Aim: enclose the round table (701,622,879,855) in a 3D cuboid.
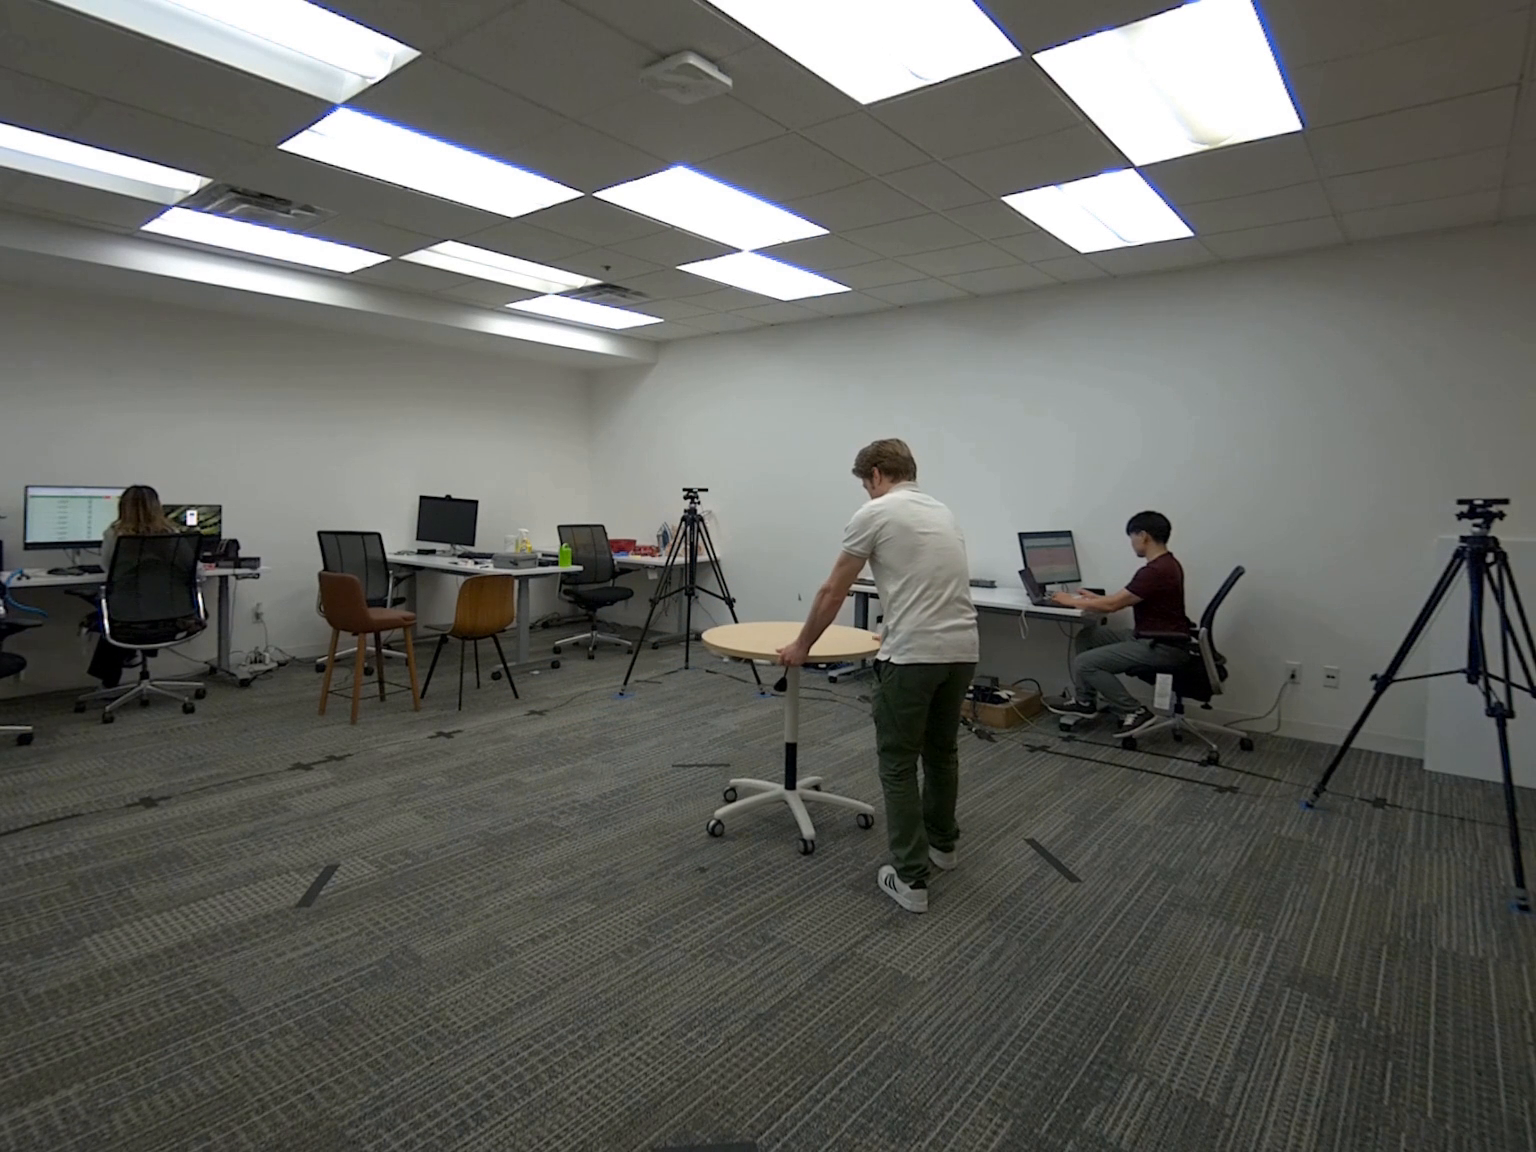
[{"bbox_3d":[0.096,0.640,3.550,0.784,0.783,0.789,1,5,-2],"label":"round table"}]
